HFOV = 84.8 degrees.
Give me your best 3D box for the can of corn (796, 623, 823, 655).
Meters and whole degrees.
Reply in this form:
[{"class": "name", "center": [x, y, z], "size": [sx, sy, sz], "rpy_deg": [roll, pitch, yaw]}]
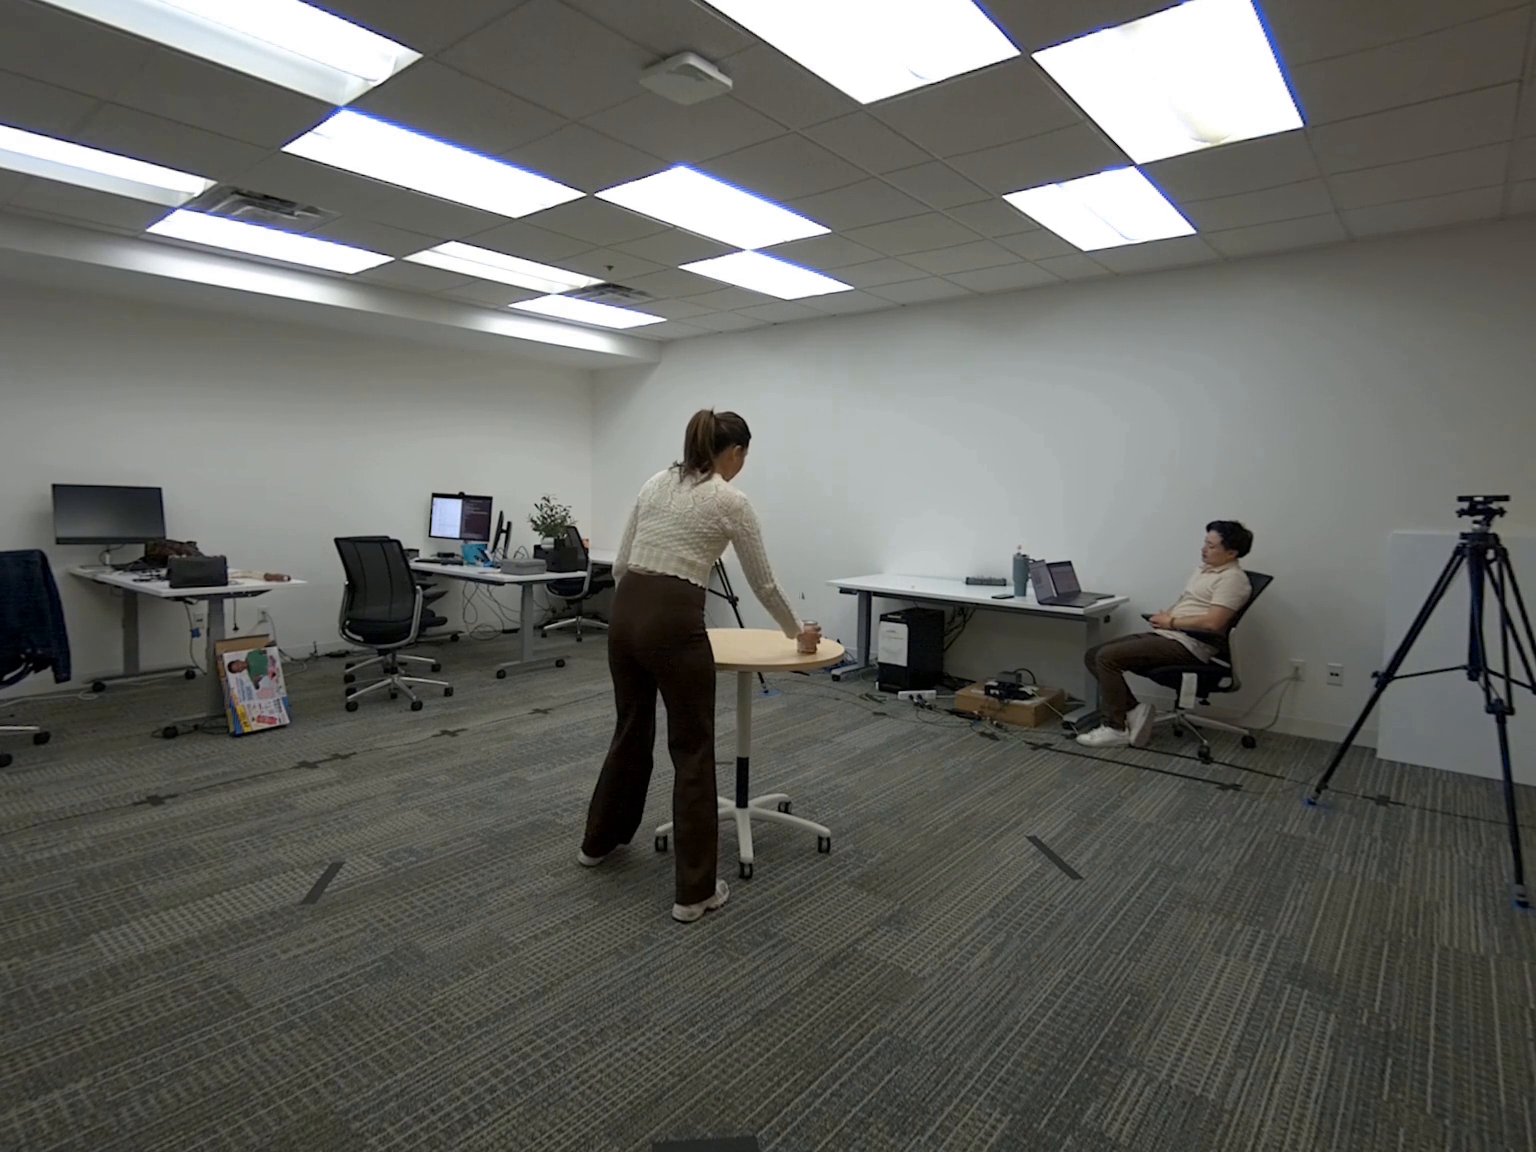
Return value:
[{"class": "can of corn", "center": [0.139, 0.227, 3.187], "size": [0.074, 0.110, 0.075], "rpy_deg": [1, 8, -2]}]
